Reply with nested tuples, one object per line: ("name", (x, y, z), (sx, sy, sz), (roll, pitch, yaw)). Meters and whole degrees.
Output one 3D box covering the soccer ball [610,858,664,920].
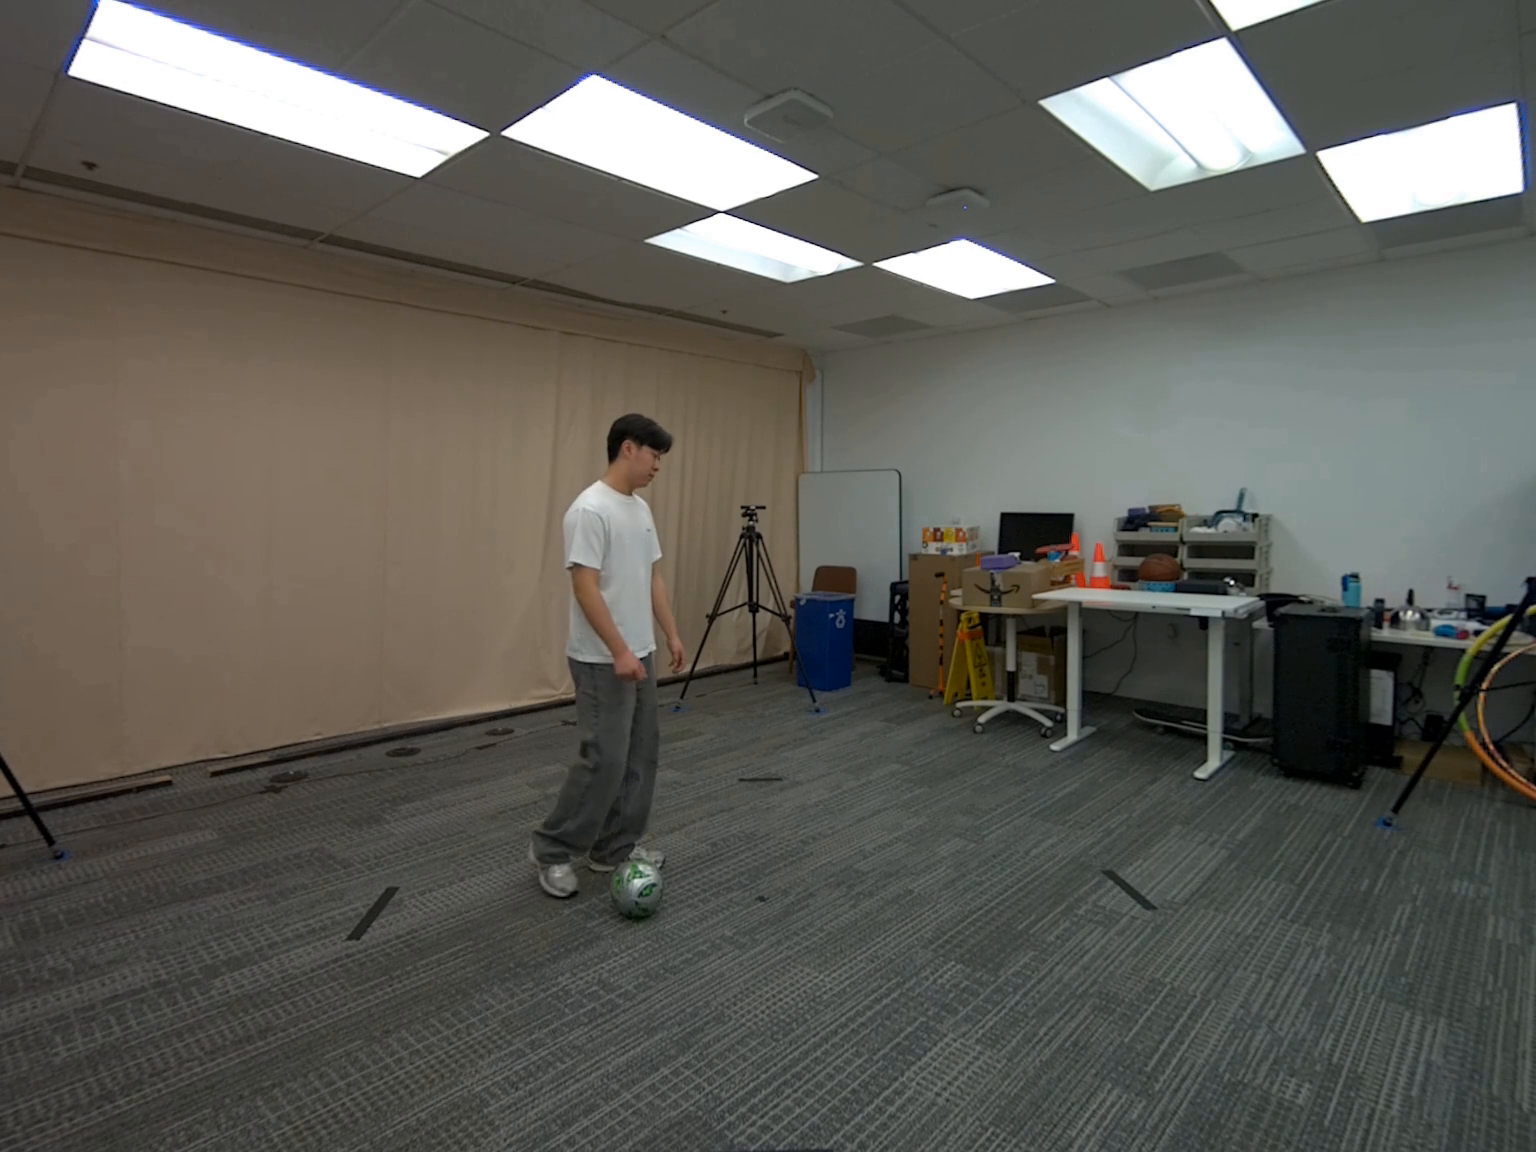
("soccer ball", (-0.440, 1.064, 2.870), (0.187, 0.187, 0.188), (0, 4, -2))
